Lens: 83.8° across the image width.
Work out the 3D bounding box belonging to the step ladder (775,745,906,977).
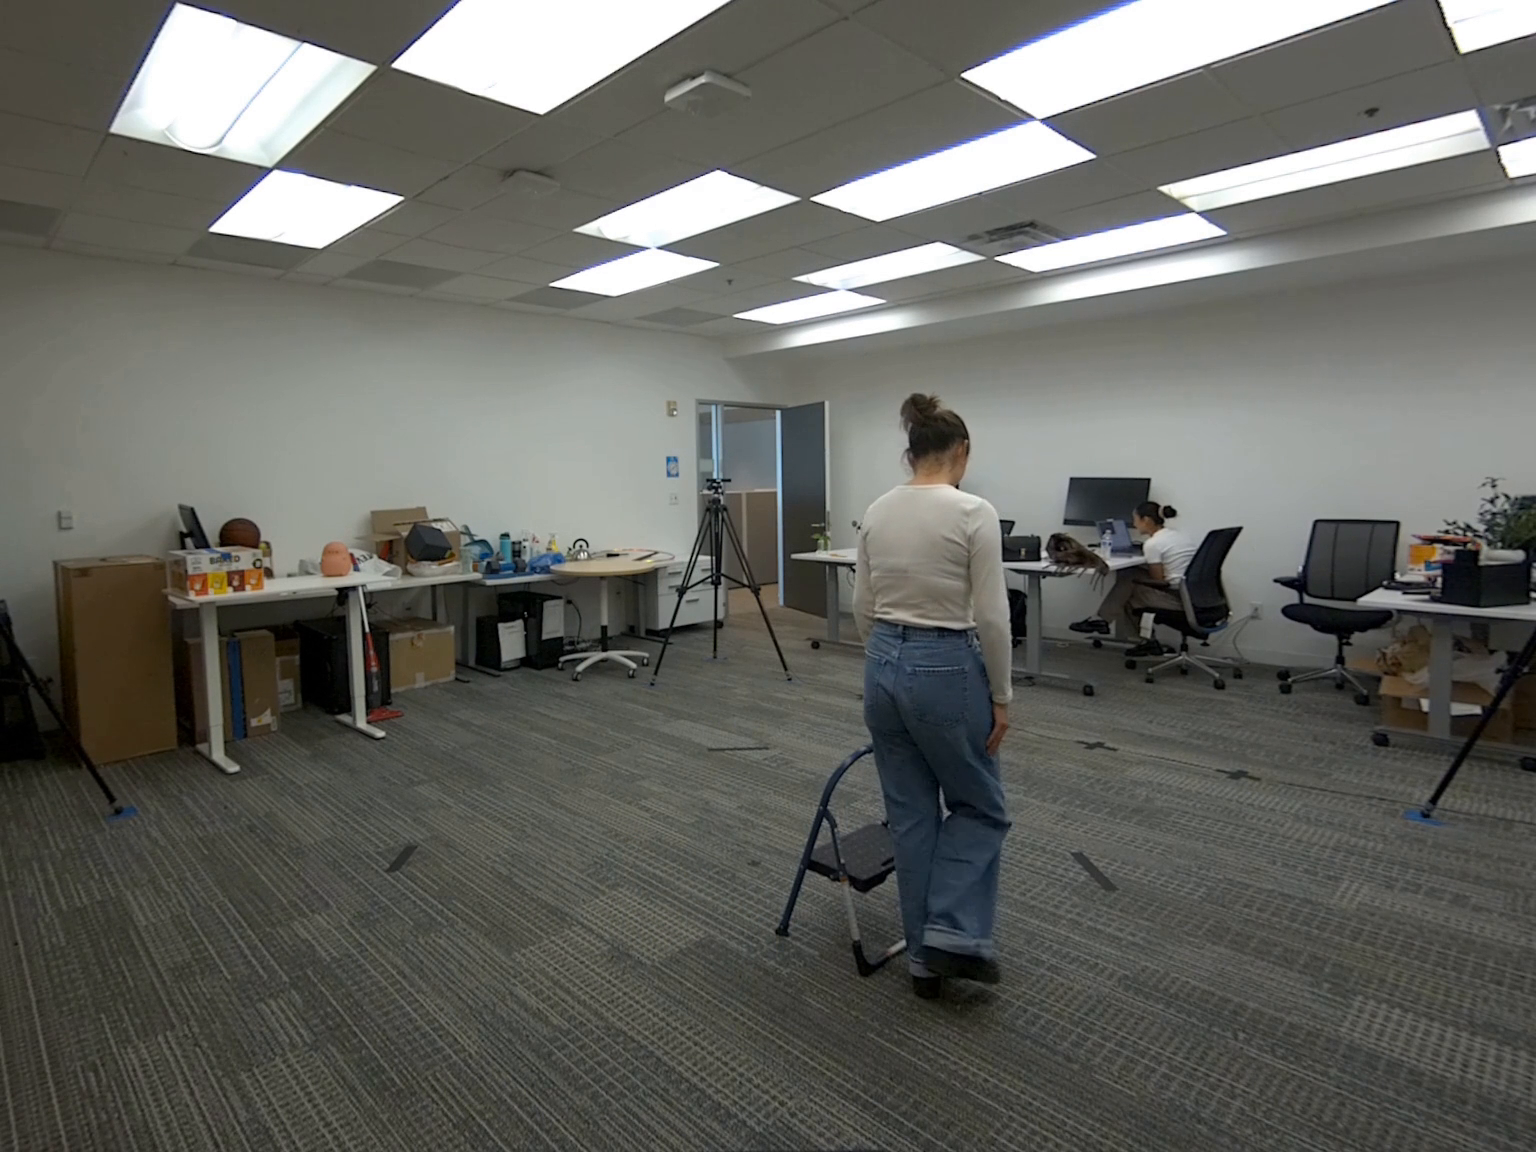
[{"bbox_3d":[0.289,0.794,2.628,0.419,0.604,0.360,-5,6,-45],"label":"step ladder"}]
